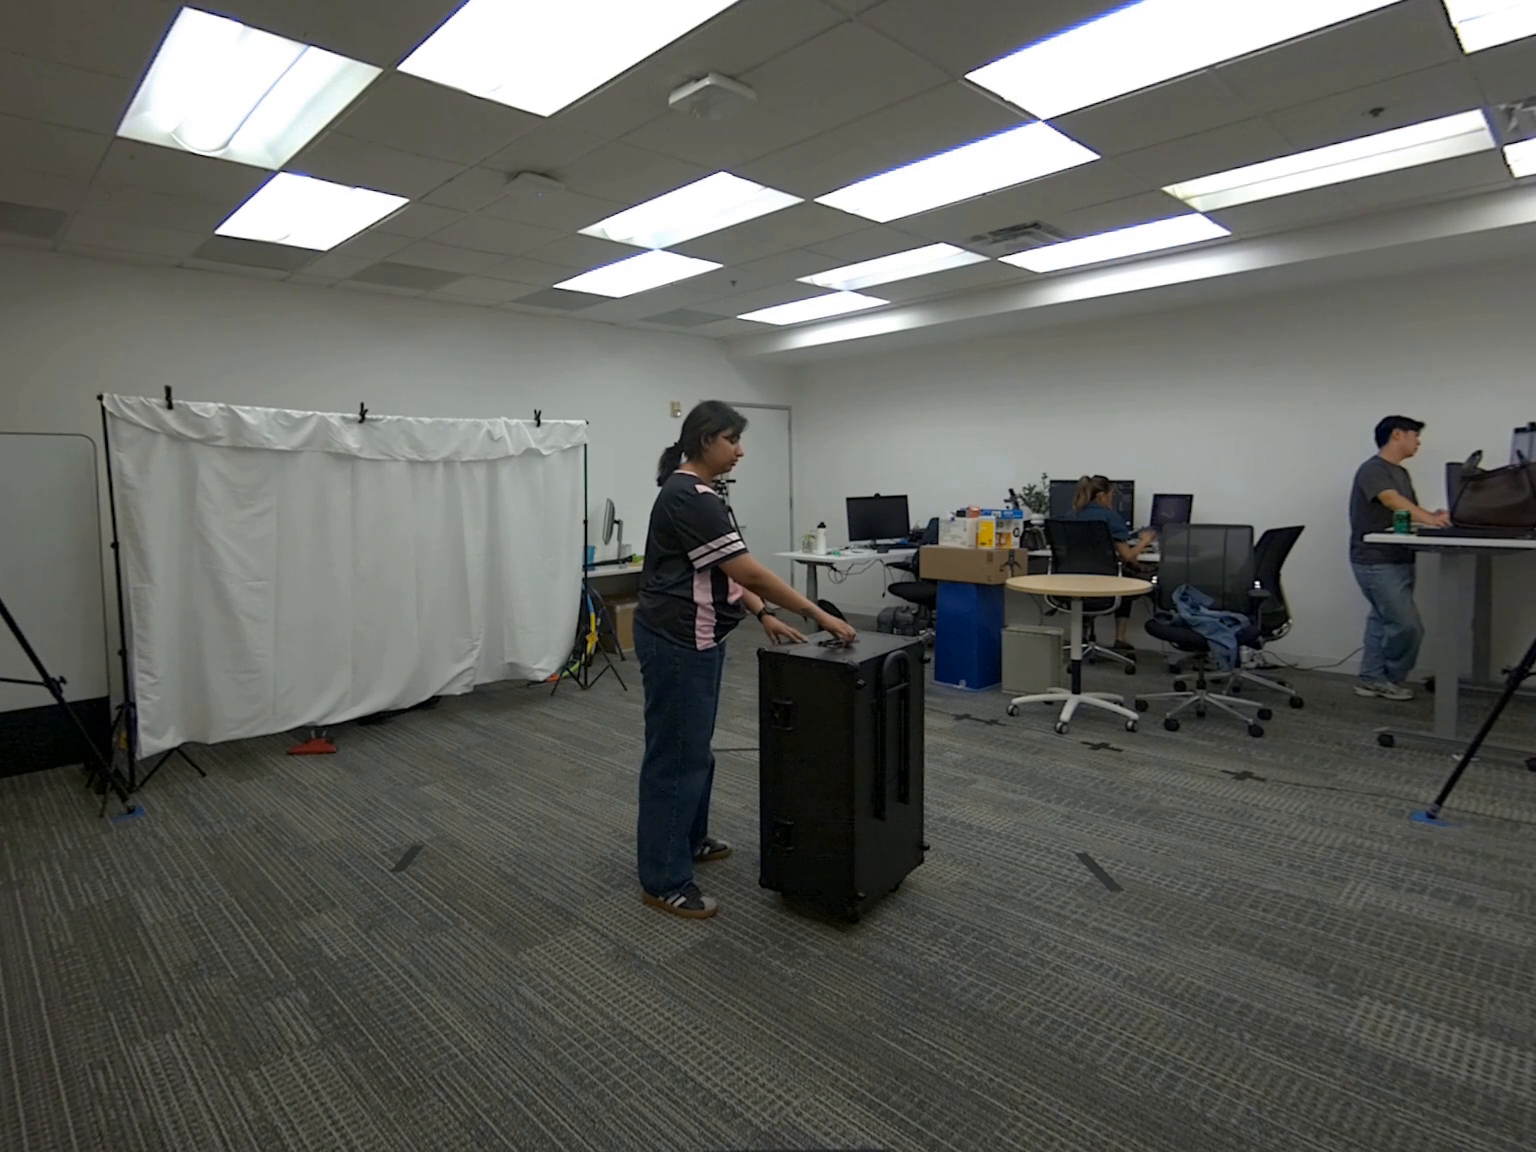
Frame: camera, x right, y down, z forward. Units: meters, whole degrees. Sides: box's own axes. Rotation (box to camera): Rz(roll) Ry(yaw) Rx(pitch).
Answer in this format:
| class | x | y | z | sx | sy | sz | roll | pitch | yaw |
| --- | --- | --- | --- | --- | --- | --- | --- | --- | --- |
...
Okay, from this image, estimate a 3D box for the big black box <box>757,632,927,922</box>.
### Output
| class | x | y | z | sx | sy | sz | roll | pitch | yaw |
| --- | --- | --- | --- | --- | --- | --- | --- | --- | --- |
| big black box | 0.260 | 0.646 | 2.844 | 0.396 | 0.865 | 0.510 | 3 | 6 | 36 |
